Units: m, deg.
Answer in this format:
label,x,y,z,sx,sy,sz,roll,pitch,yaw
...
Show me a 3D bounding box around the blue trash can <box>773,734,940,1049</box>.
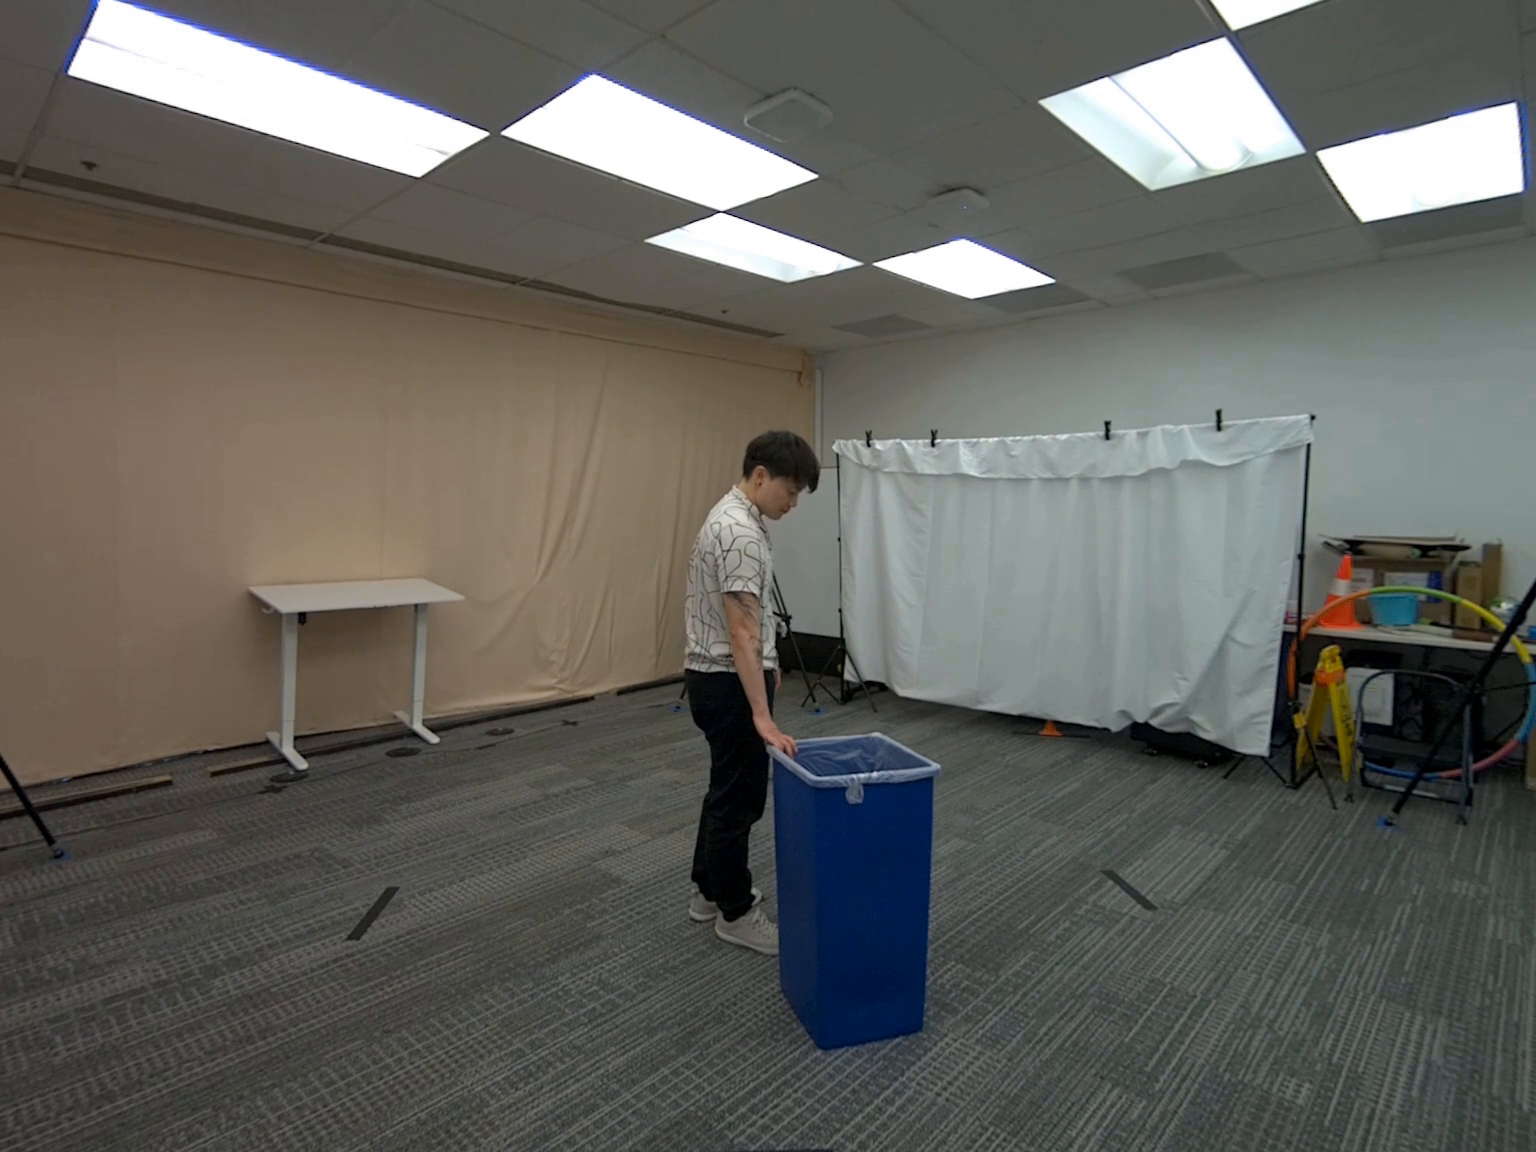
label,x,y,z,sx,sy,sz,roll,pitch,yaw
blue trash can,0.225,0.843,2.316,0.371,0.712,0.382,-1,3,-19
